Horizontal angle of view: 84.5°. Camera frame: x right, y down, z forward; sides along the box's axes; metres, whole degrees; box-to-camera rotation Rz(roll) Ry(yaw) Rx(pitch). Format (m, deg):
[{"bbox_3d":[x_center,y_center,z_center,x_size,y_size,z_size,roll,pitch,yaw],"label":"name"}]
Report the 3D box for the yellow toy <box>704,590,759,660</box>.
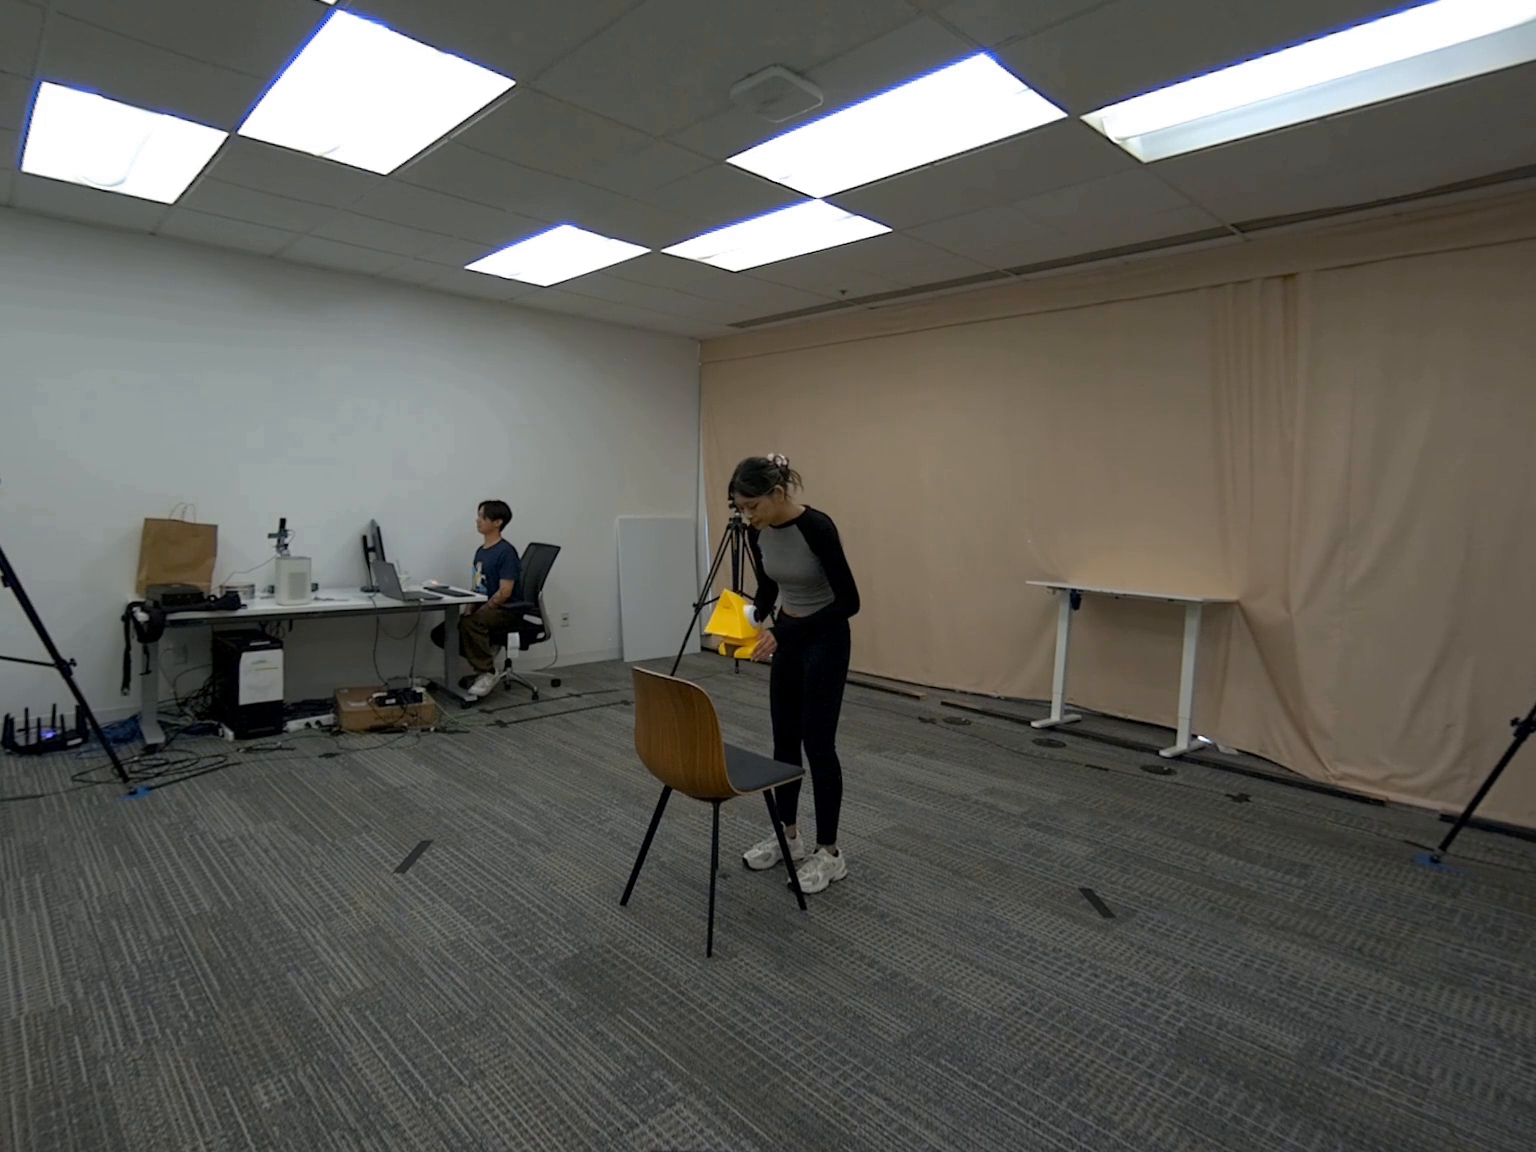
[{"bbox_3d":[-0.095,0.153,2.881,0.189,0.229,0.210,-13,11,-39],"label":"yellow toy"}]
